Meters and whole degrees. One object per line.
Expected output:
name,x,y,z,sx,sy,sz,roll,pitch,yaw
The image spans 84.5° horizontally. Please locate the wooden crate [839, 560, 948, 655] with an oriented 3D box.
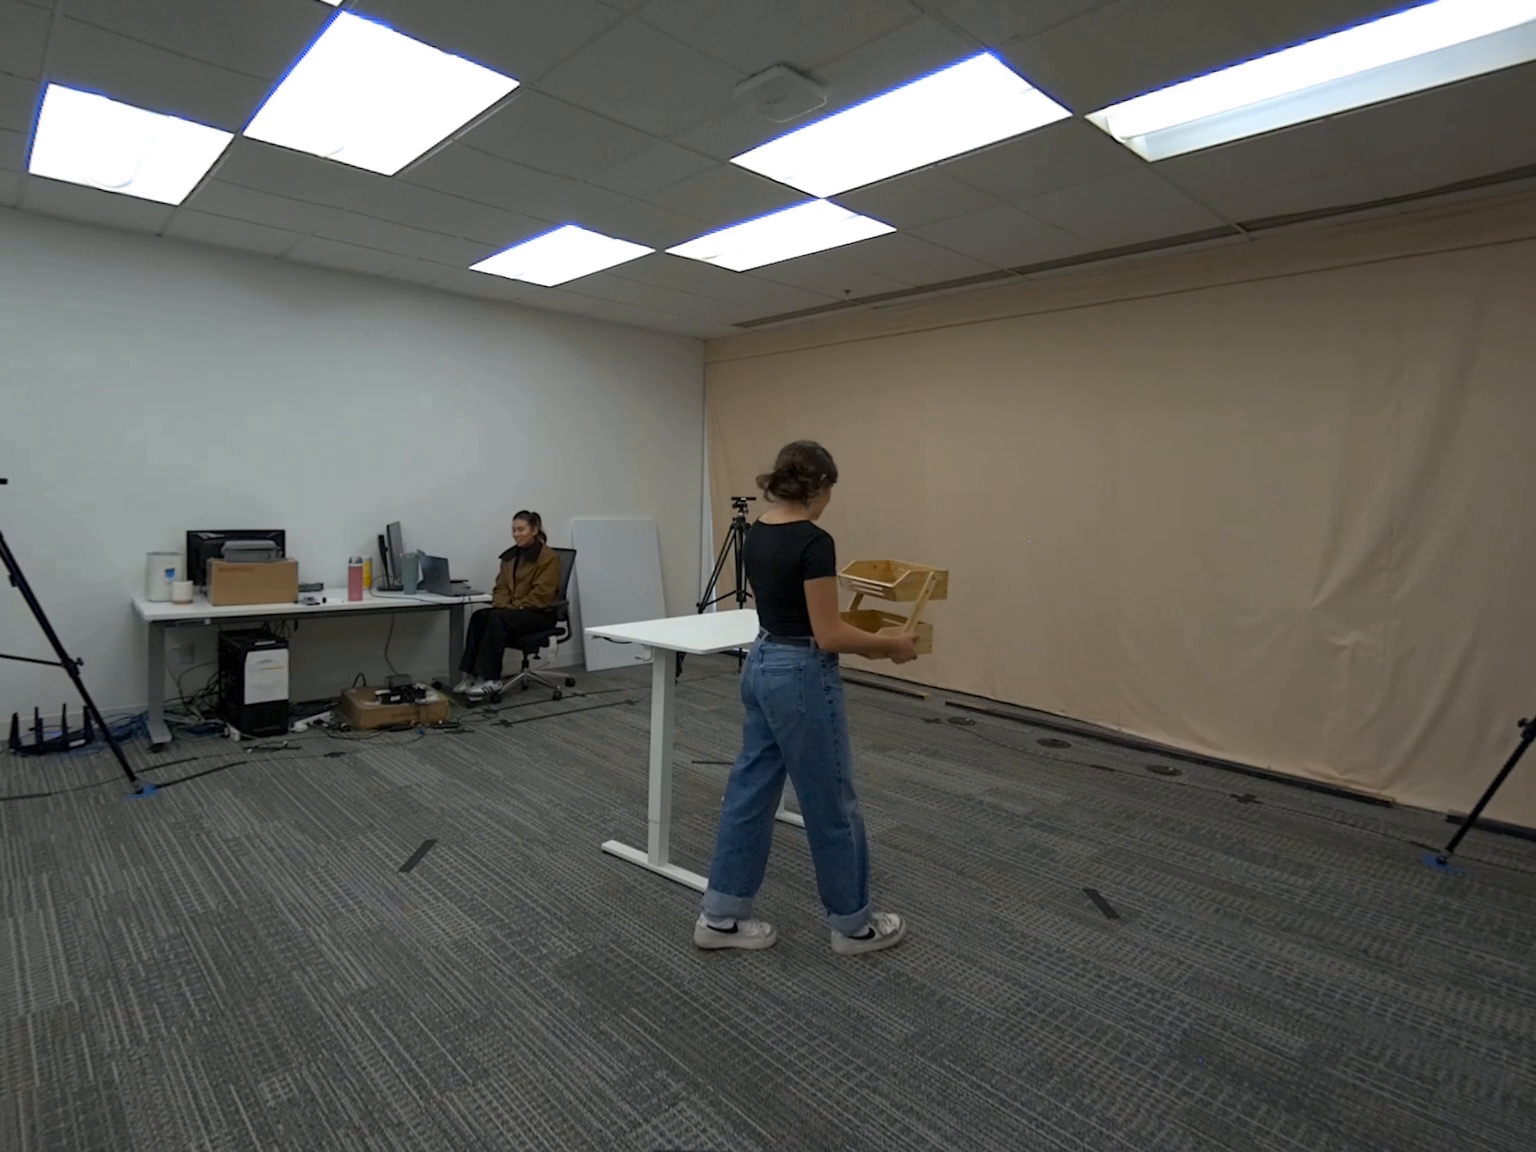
wooden crate,0.347,0.091,2.682,0.296,0.272,0.332,-2,7,-27
